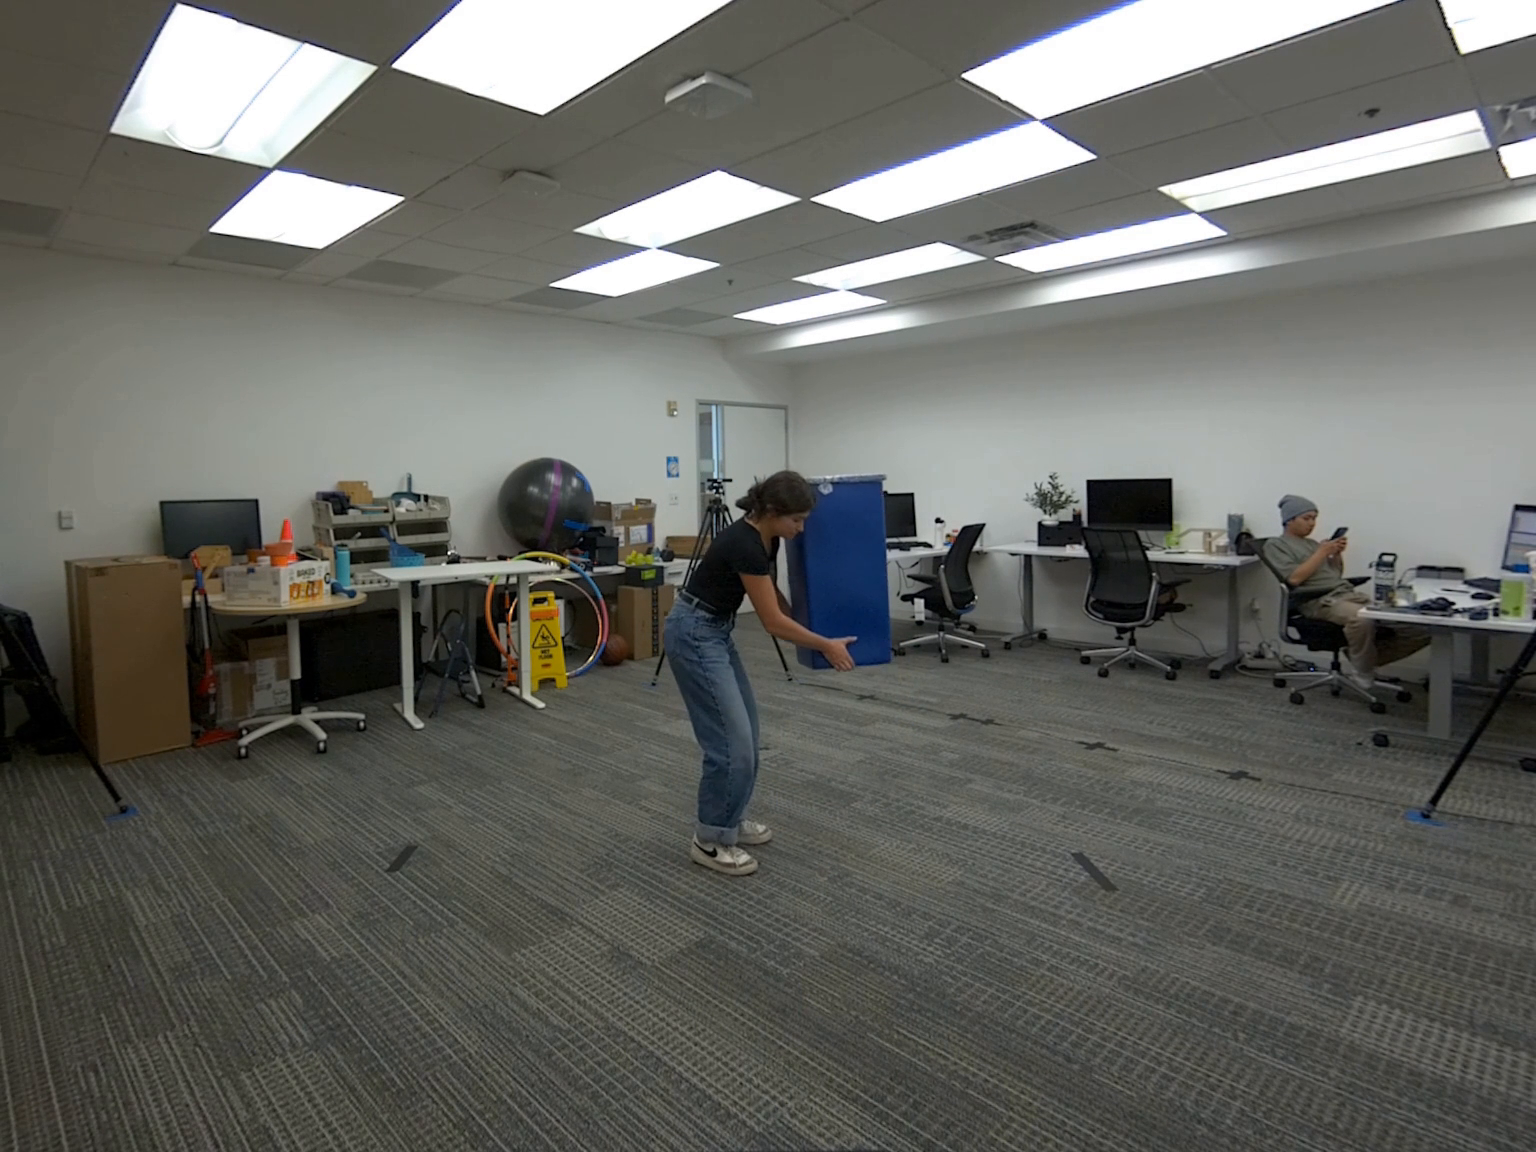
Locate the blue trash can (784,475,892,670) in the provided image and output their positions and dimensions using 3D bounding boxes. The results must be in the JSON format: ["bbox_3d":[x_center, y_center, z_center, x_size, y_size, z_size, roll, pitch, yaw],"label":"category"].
[{"bbox_3d":[0.262,-0.013,3.350,0.376,0.715,0.376,-2,-1,-8],"label":"blue trash can"}]
